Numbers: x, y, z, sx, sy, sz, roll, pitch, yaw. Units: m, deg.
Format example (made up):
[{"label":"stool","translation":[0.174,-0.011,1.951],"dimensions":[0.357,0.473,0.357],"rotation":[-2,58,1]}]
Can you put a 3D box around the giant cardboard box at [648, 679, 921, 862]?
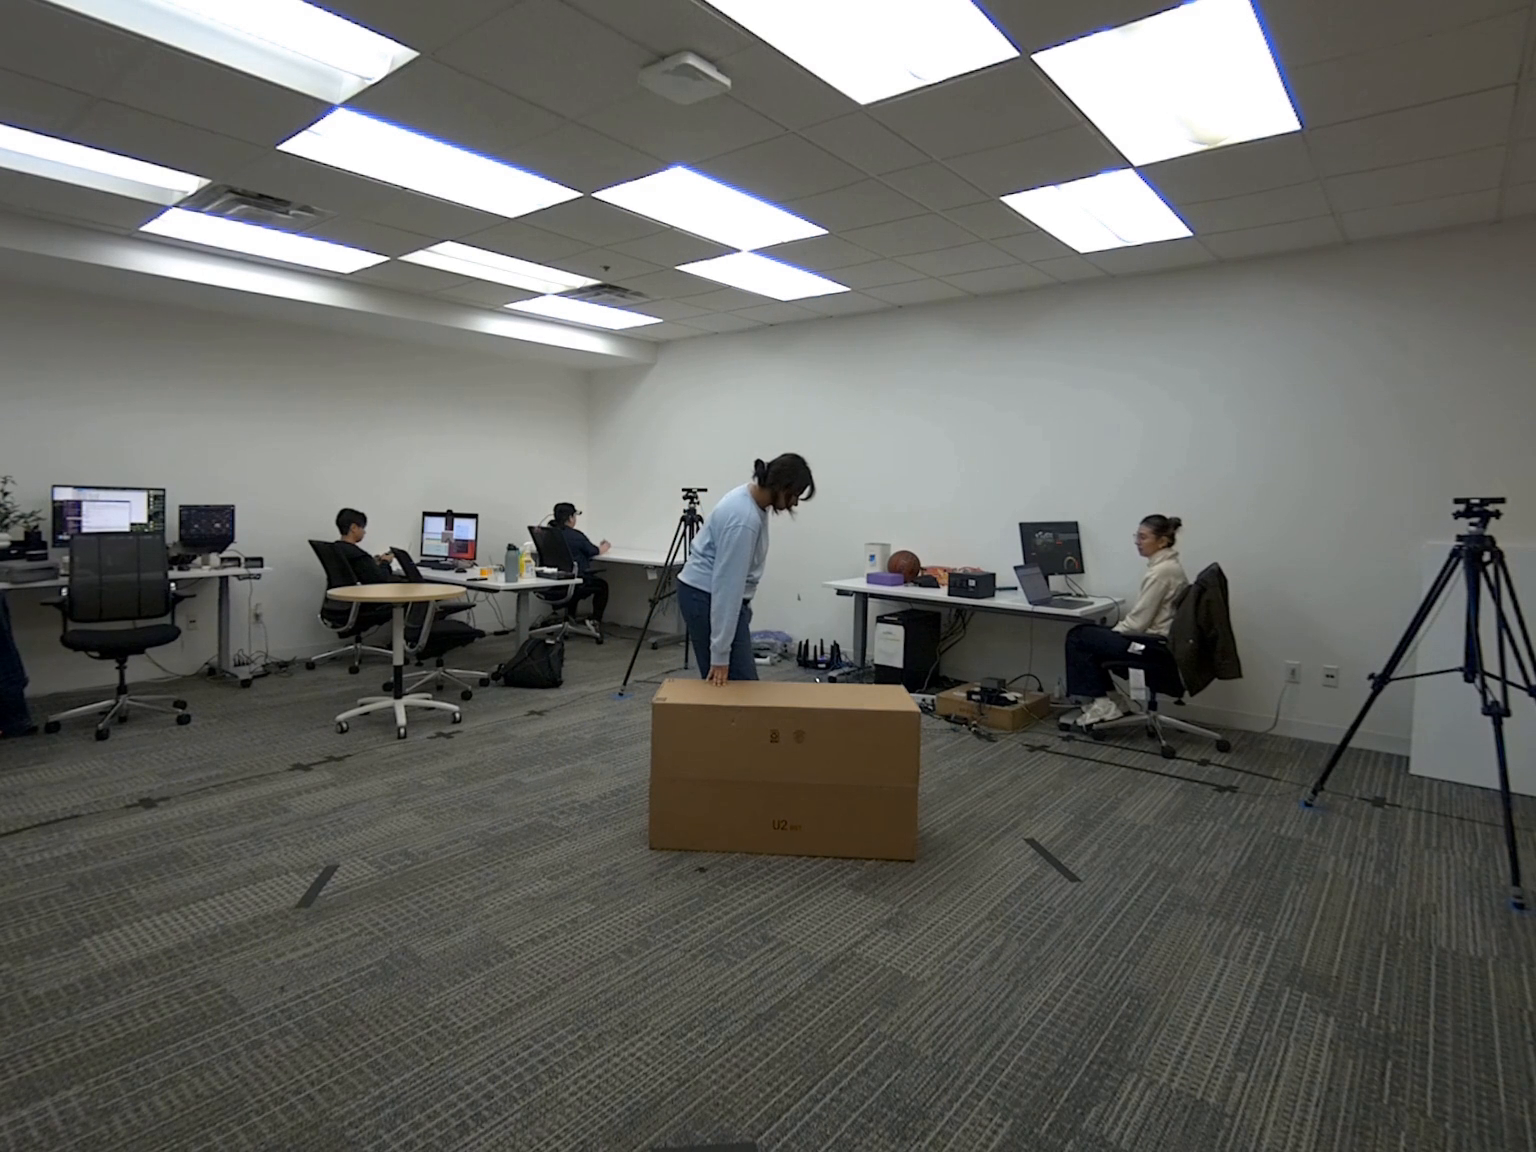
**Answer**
[{"label":"giant cardboard box","translation":[0.052,0.753,3.435],"dimensions":[1.029,0.576,0.426],"rotation":[1,3,3]}]
